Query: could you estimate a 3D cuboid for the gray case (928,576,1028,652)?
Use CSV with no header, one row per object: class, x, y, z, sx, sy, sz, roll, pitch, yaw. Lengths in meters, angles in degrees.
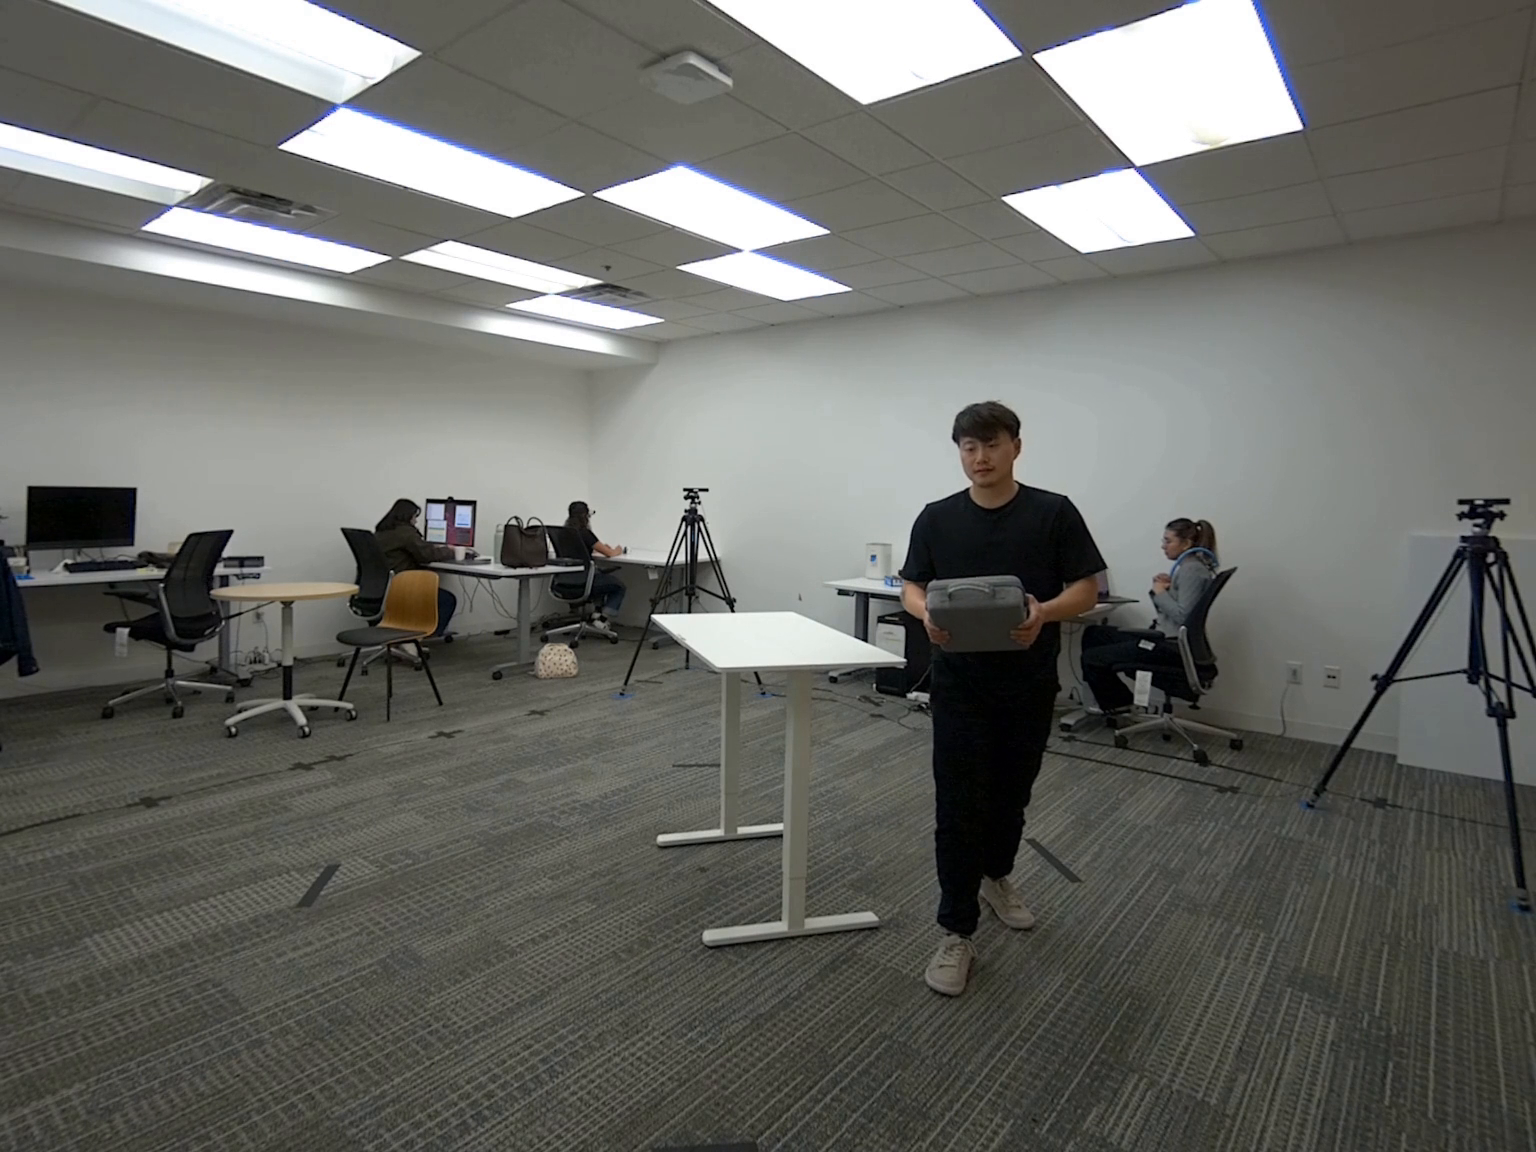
gray case,0.611,0.095,2.357,0.262,0.106,0.250,-5,-37,25
